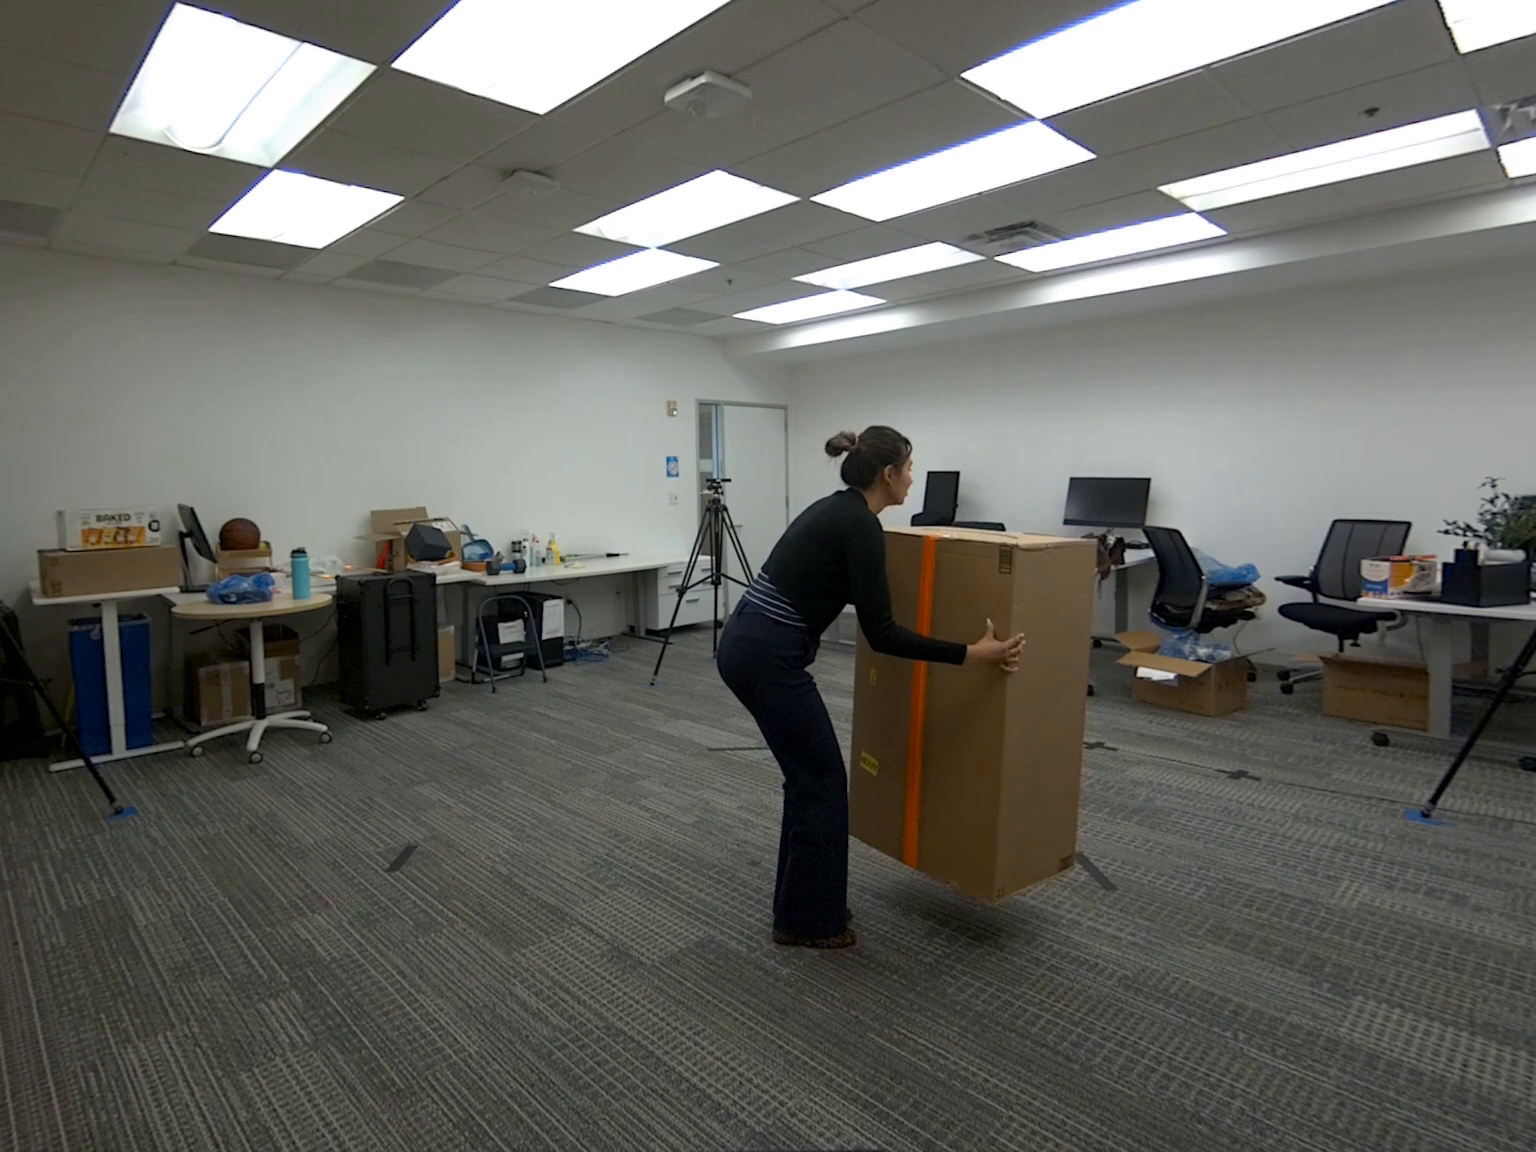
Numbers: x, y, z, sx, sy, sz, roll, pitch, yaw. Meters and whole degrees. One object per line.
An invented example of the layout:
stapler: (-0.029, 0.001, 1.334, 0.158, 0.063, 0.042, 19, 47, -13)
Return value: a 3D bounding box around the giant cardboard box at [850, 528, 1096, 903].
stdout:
giant cardboard box: (0.629, 0.381, 2.704, 0.414, 1.022, 0.596, -2, 6, -39)
